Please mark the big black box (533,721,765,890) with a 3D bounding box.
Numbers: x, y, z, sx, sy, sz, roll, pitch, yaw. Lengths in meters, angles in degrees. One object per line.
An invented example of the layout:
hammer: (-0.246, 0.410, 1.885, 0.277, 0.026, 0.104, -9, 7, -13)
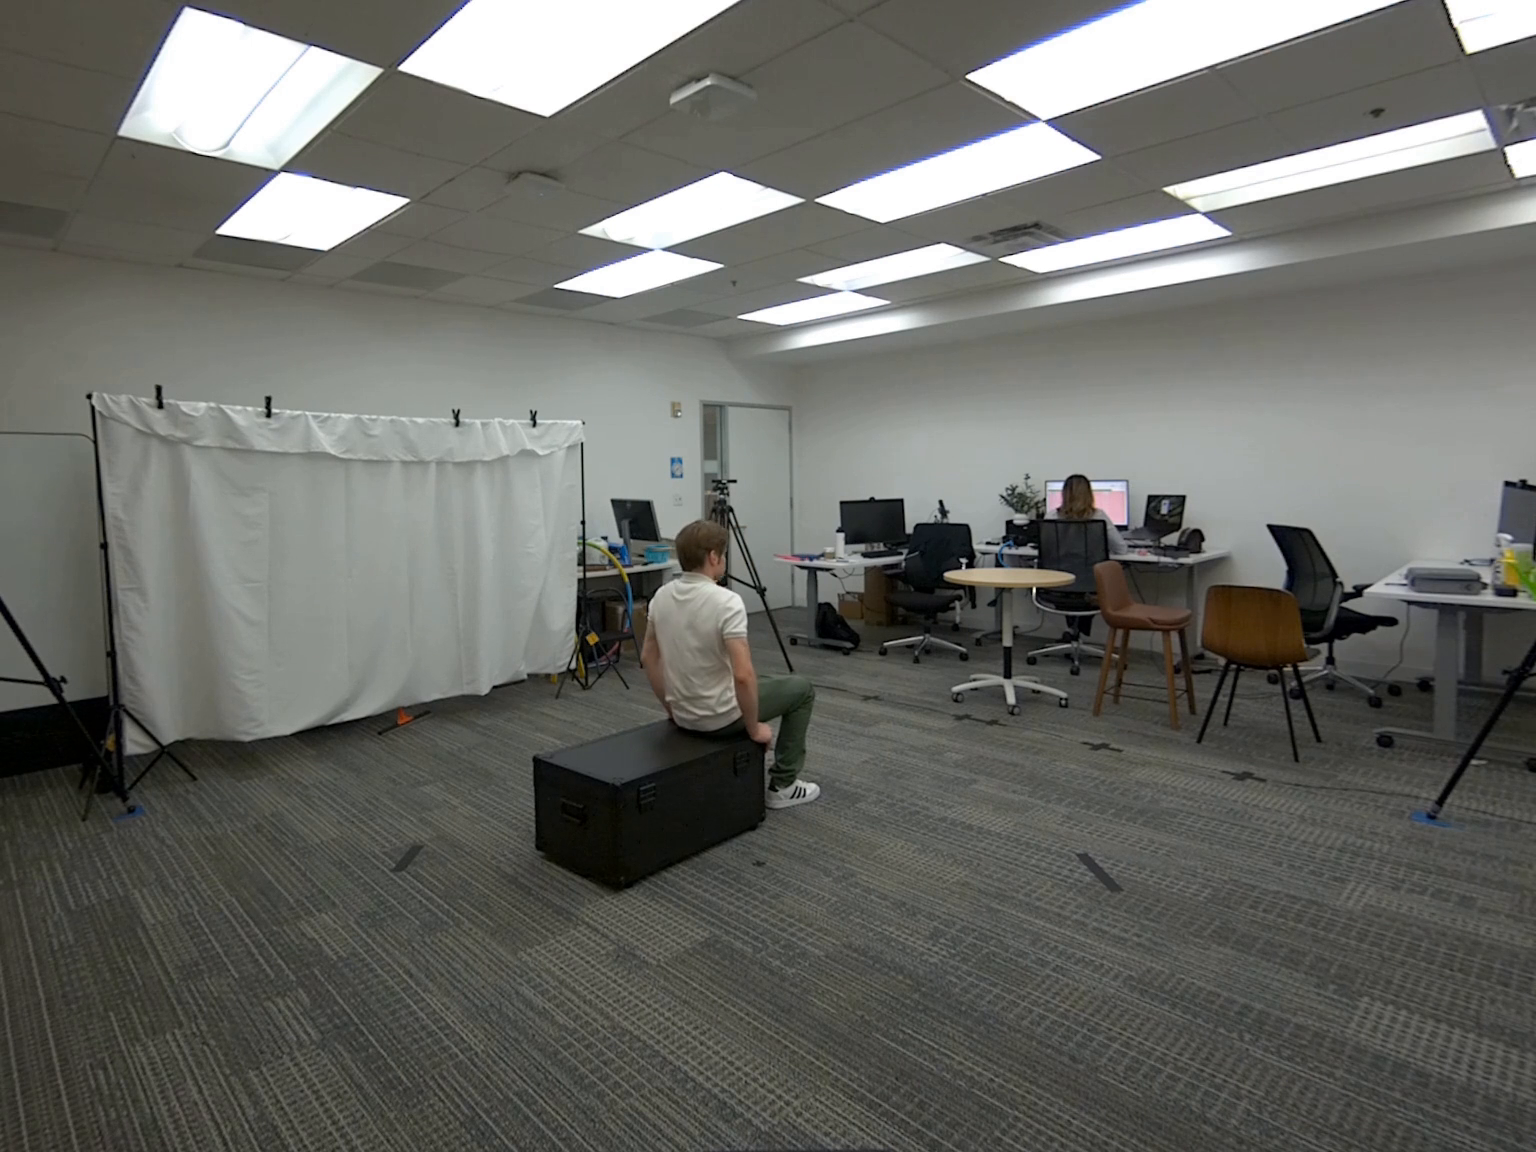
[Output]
big black box: (-0.415, 0.834, 3.344, 0.539, 0.384, 0.846, 3, 6, 41)
